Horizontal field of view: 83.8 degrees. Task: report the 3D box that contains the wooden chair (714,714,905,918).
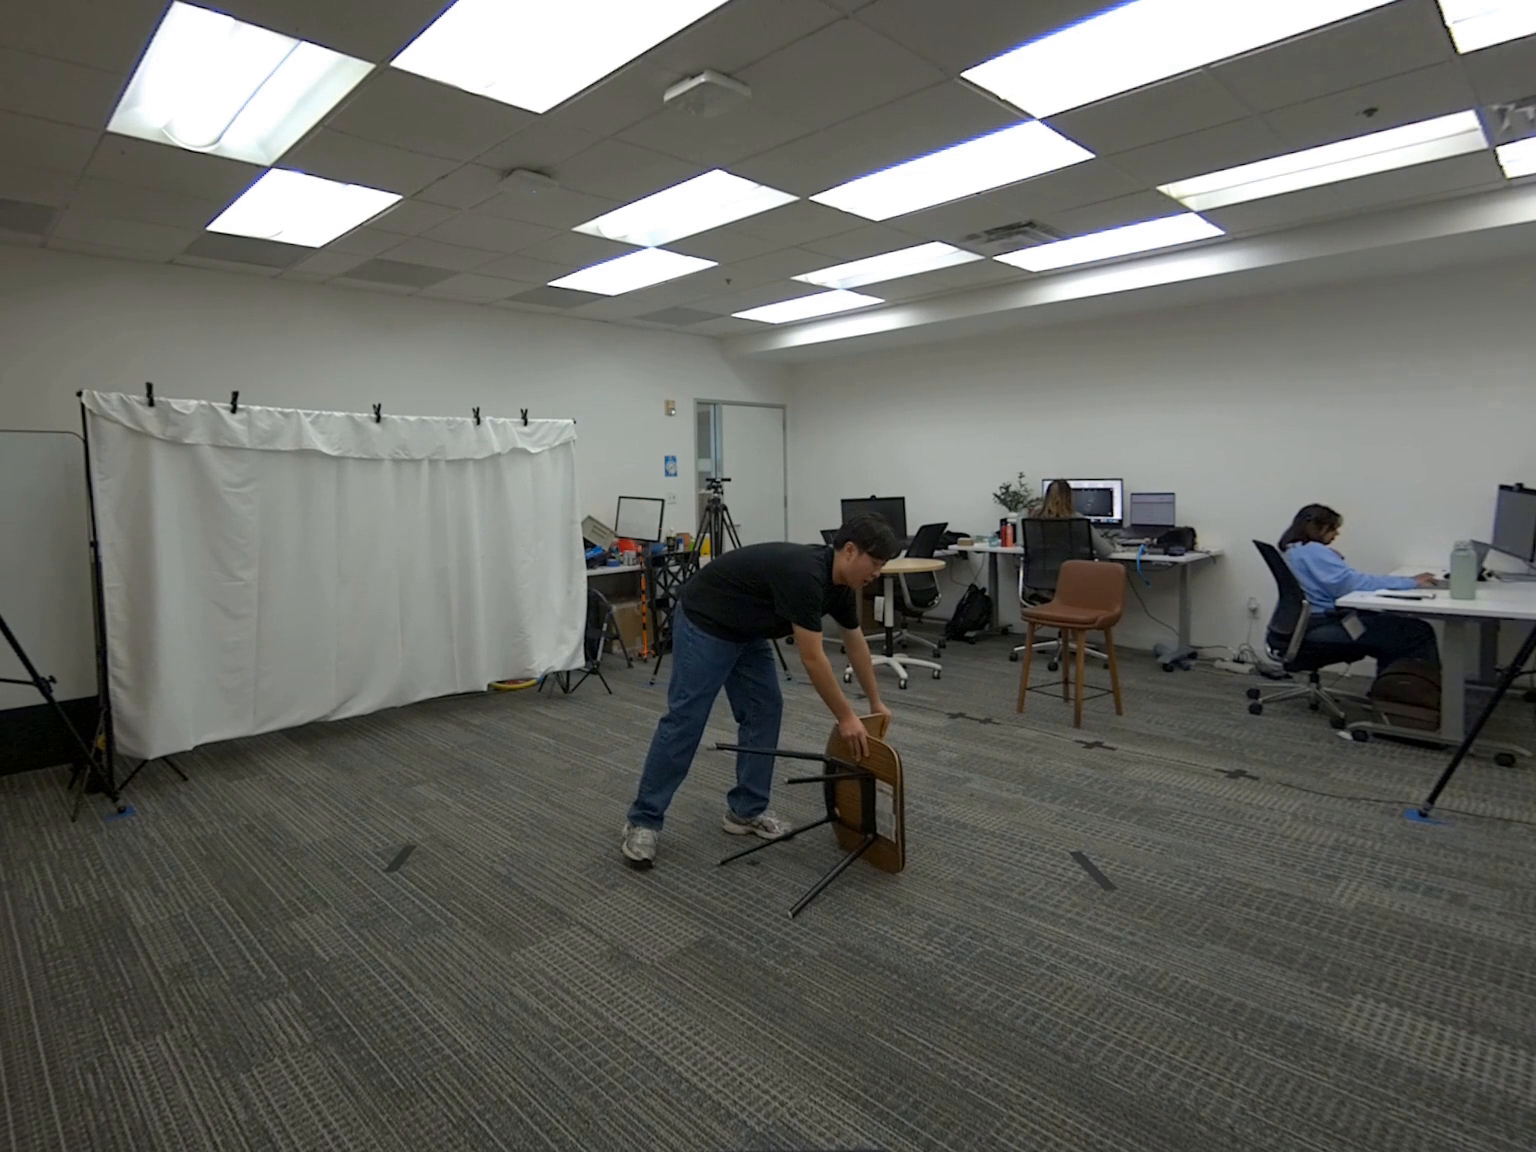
[{"bbox_3d":[0.299,0.801,3.090,0.856,0.476,0.539,-7,7,-36],"label":"wooden chair"}]
